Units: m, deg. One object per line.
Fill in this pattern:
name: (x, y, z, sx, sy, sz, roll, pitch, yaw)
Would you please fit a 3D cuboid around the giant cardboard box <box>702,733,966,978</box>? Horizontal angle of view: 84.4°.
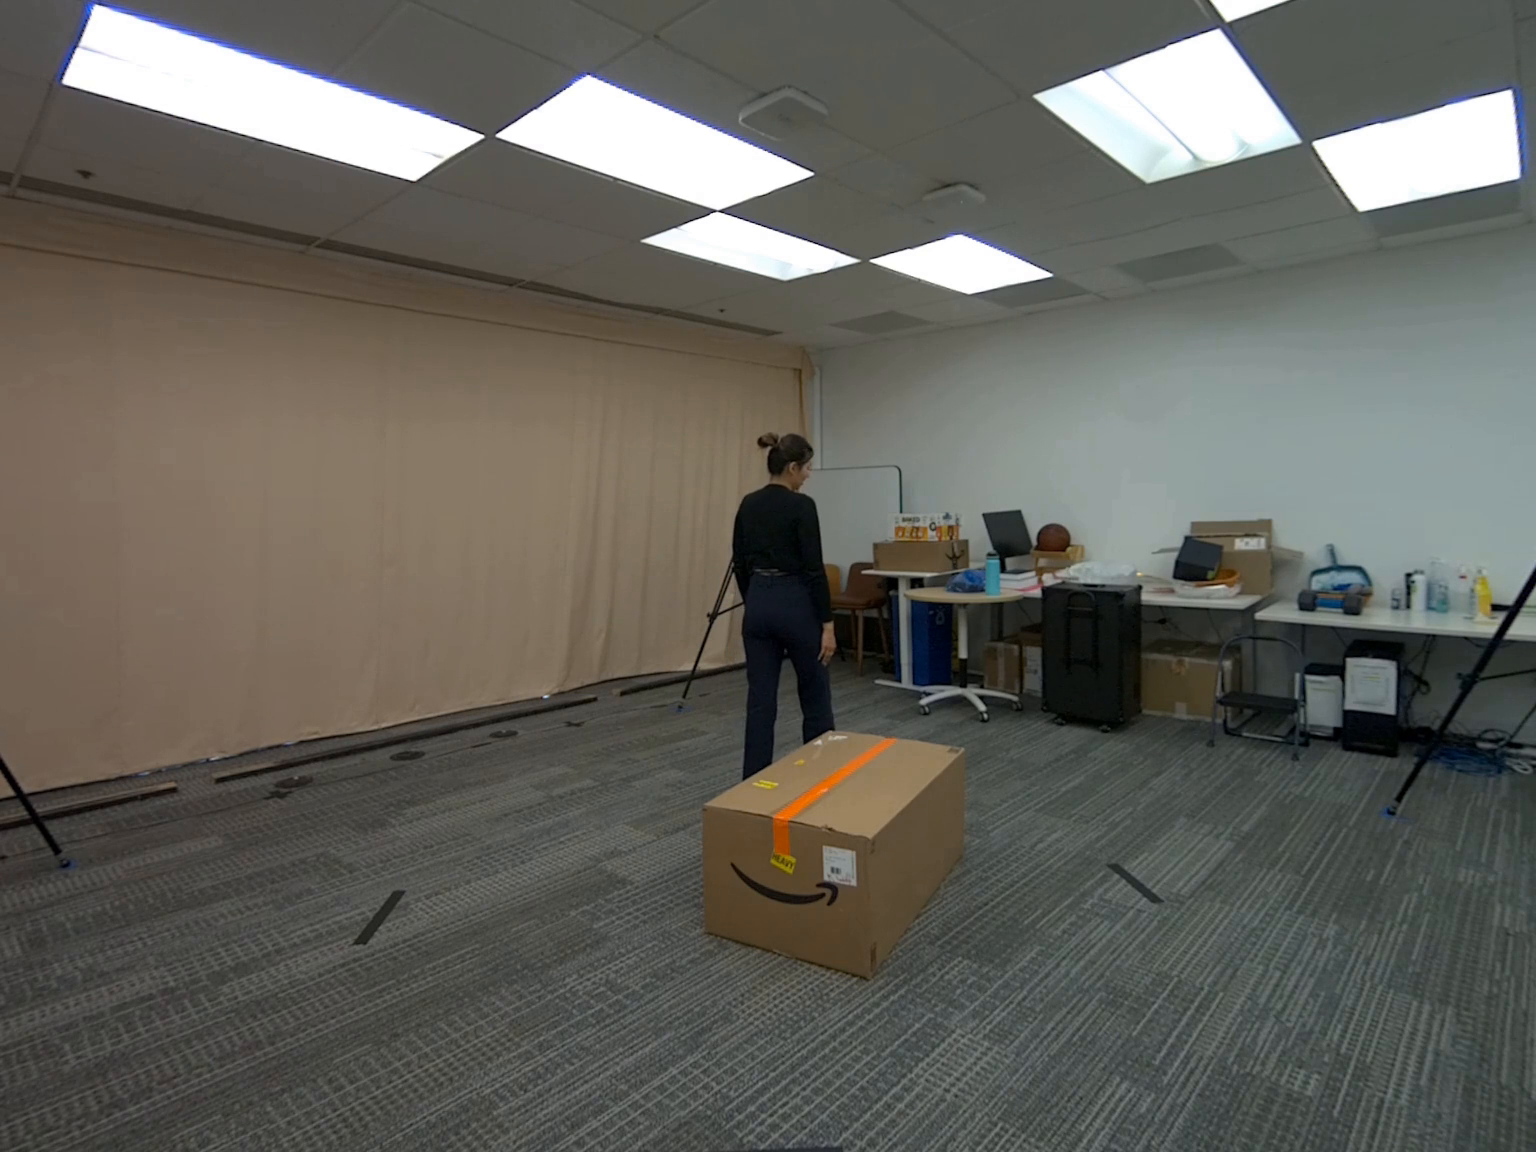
giant cardboard box: (0.284, 0.918, 3.018, 0.594, 0.425, 1.000, 2, 5, 29)
